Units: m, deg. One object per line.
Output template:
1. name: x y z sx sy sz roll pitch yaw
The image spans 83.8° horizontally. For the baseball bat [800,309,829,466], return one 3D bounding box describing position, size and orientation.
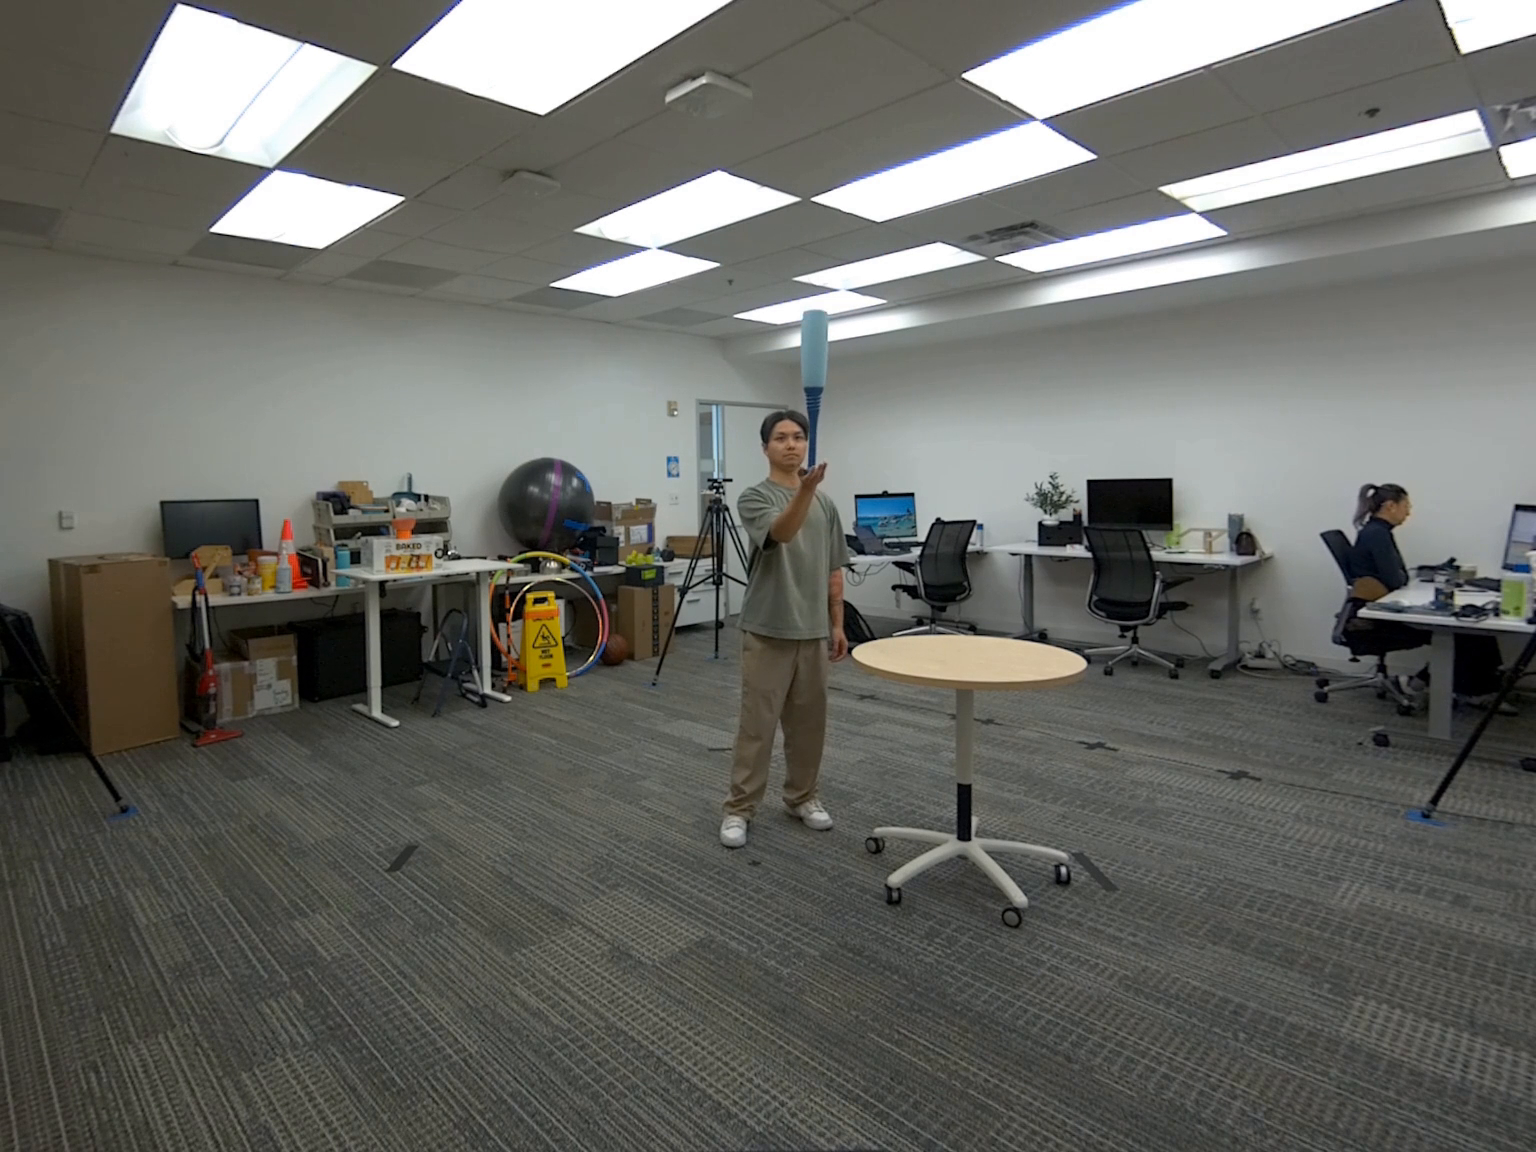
1. baseball bat: 0.154 -0.604 2.806 0.089 0.540 0.090 1 6 -2
